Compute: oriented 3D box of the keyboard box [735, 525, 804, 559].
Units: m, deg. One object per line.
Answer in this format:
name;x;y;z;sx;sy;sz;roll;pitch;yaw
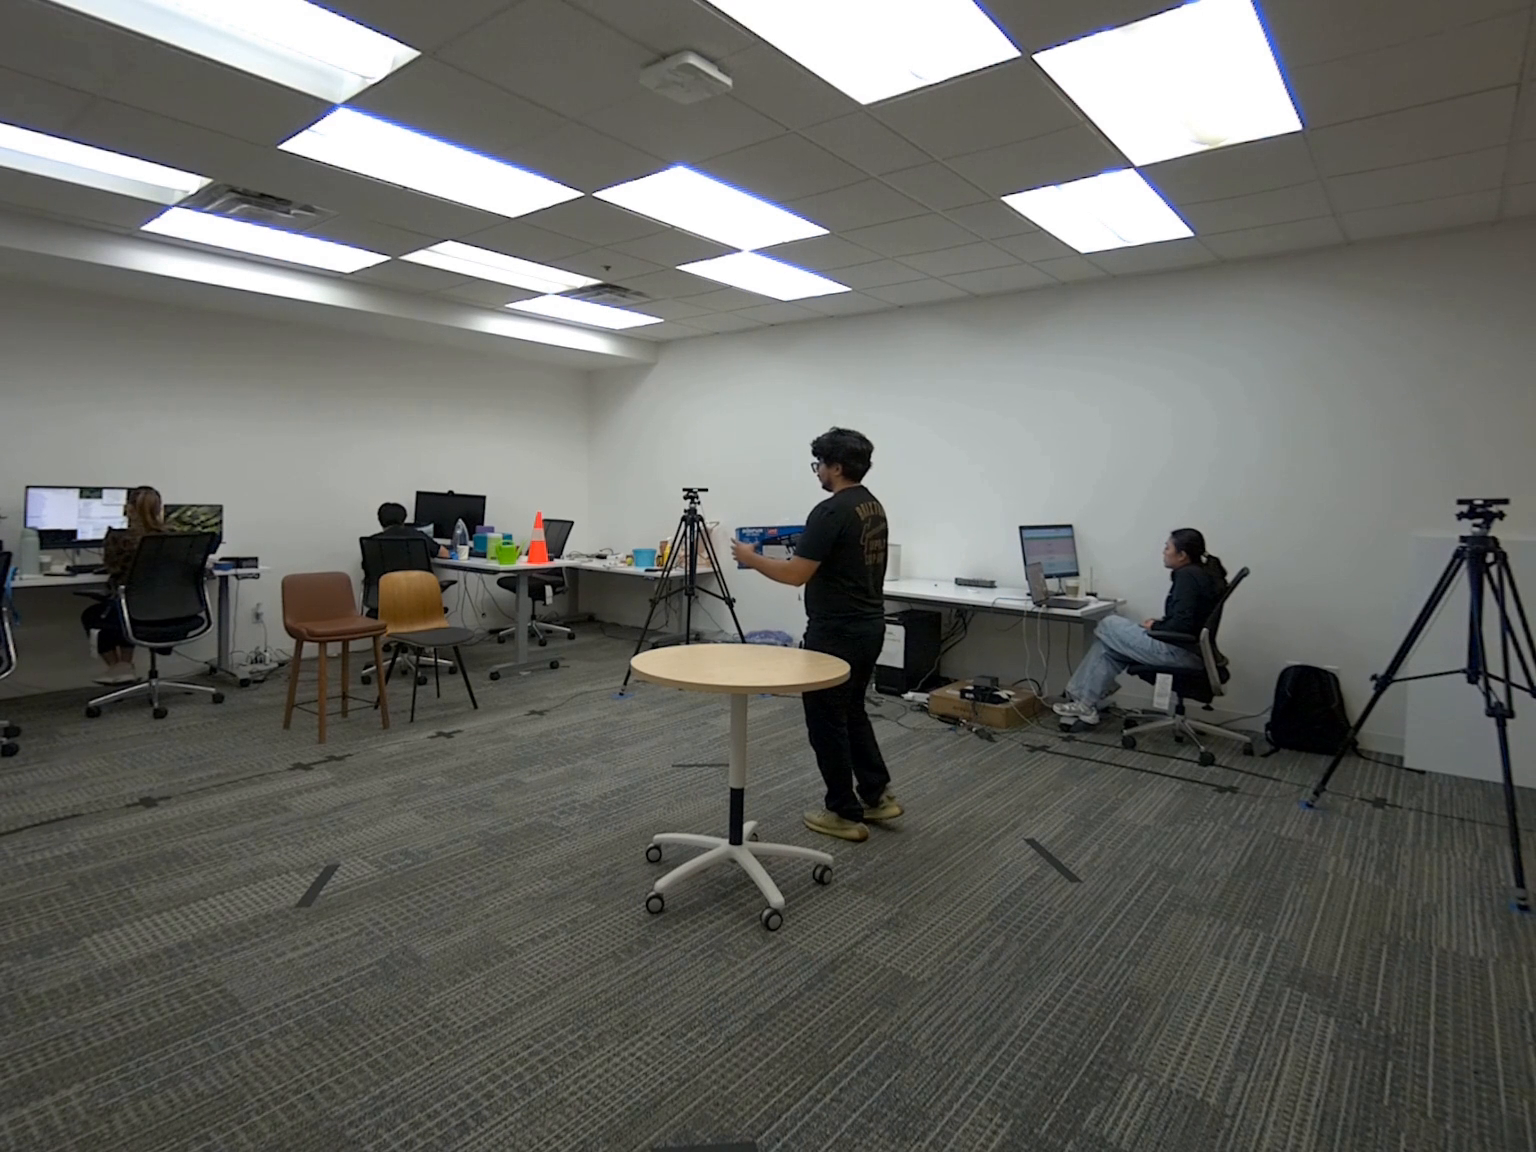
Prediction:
keyboard box;0.097;-0.130;3.587;0.431;0.176;0.060;-6;0;-12
